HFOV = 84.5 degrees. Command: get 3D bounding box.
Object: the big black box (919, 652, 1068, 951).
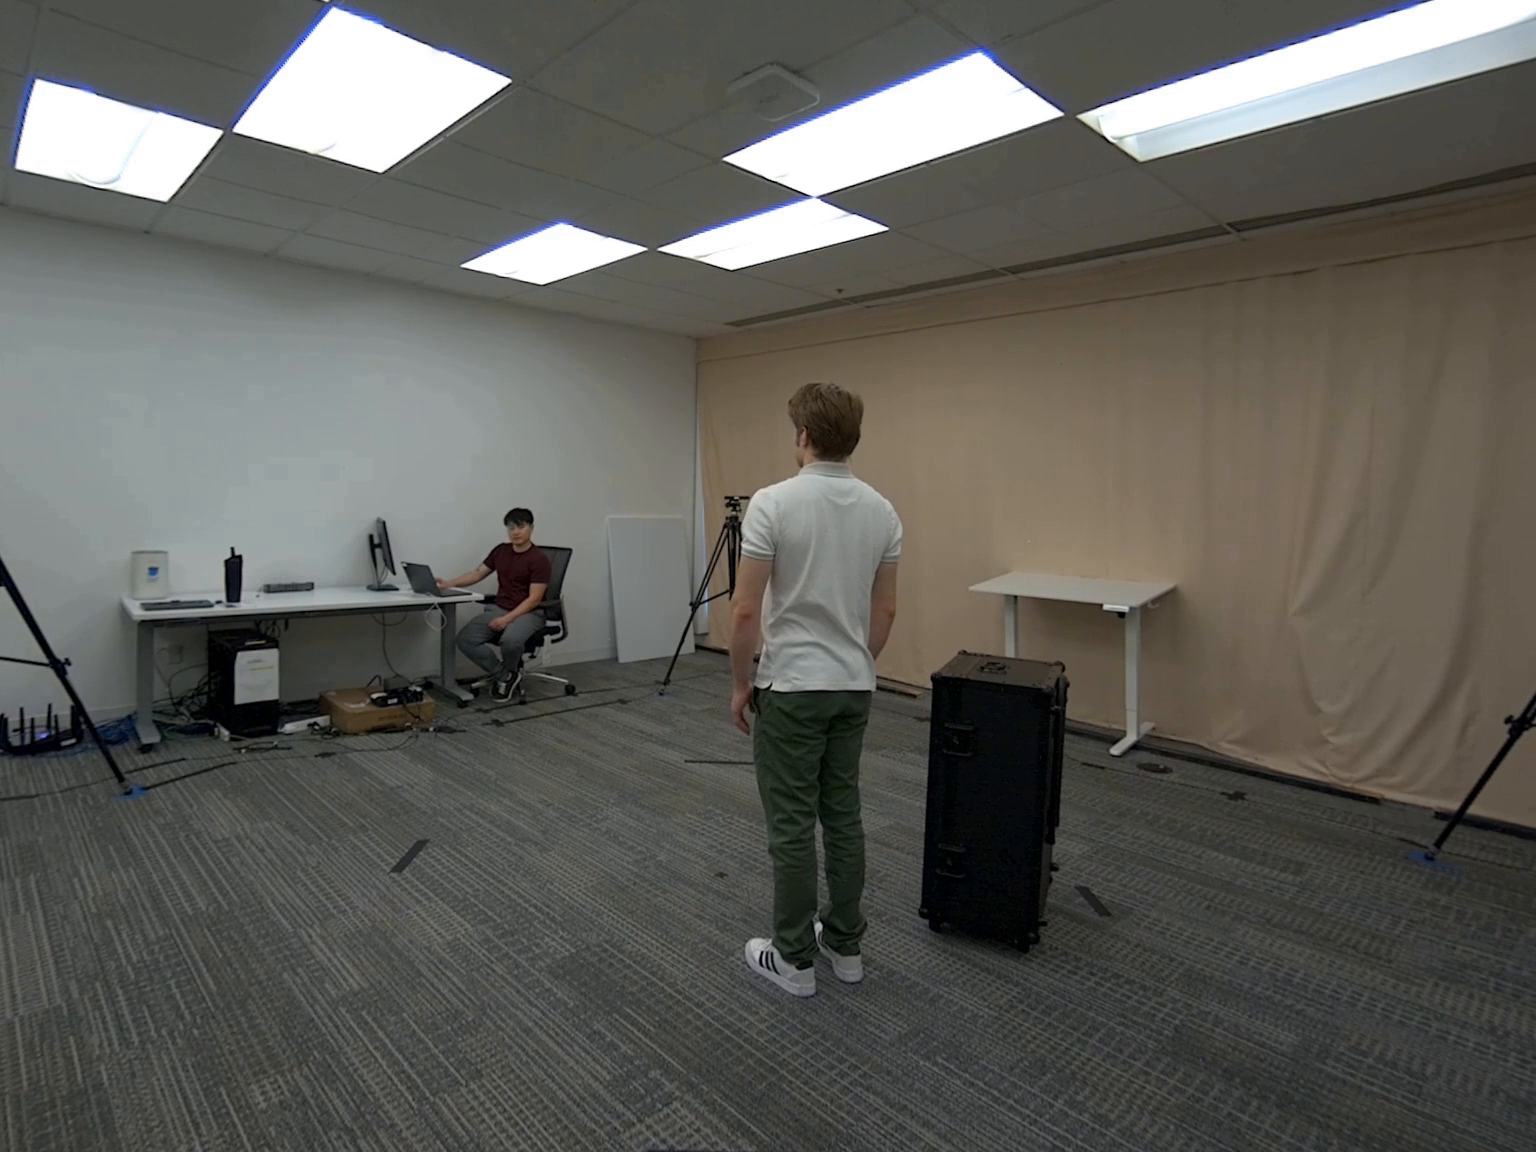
[{"bbox_3d":[0.754,0.729,2.802,0.392,0.866,0.515,3,4,23],"label":"big black box"}]
